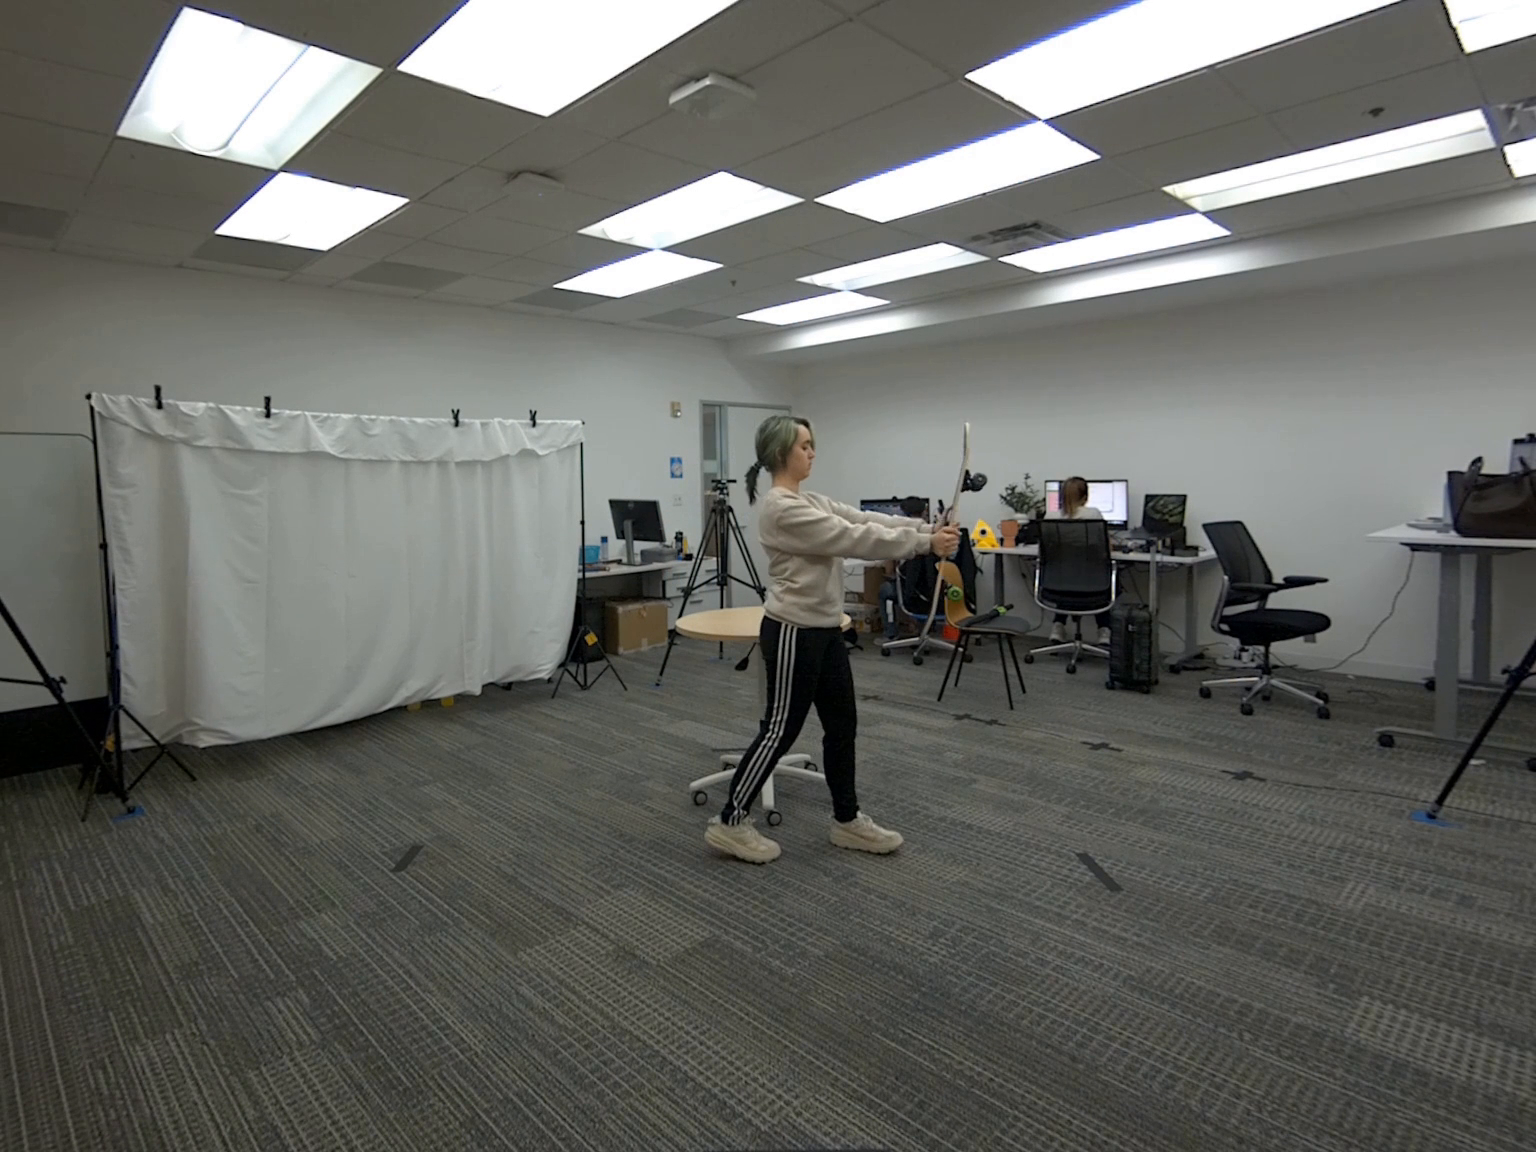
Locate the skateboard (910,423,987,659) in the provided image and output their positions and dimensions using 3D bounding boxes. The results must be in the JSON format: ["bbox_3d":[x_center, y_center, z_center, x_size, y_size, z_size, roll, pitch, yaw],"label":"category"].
[{"bbox_3d":[0.660,-0.143,2.987,0.112,0.786,0.191,13,-1,10],"label":"skateboard"}]
